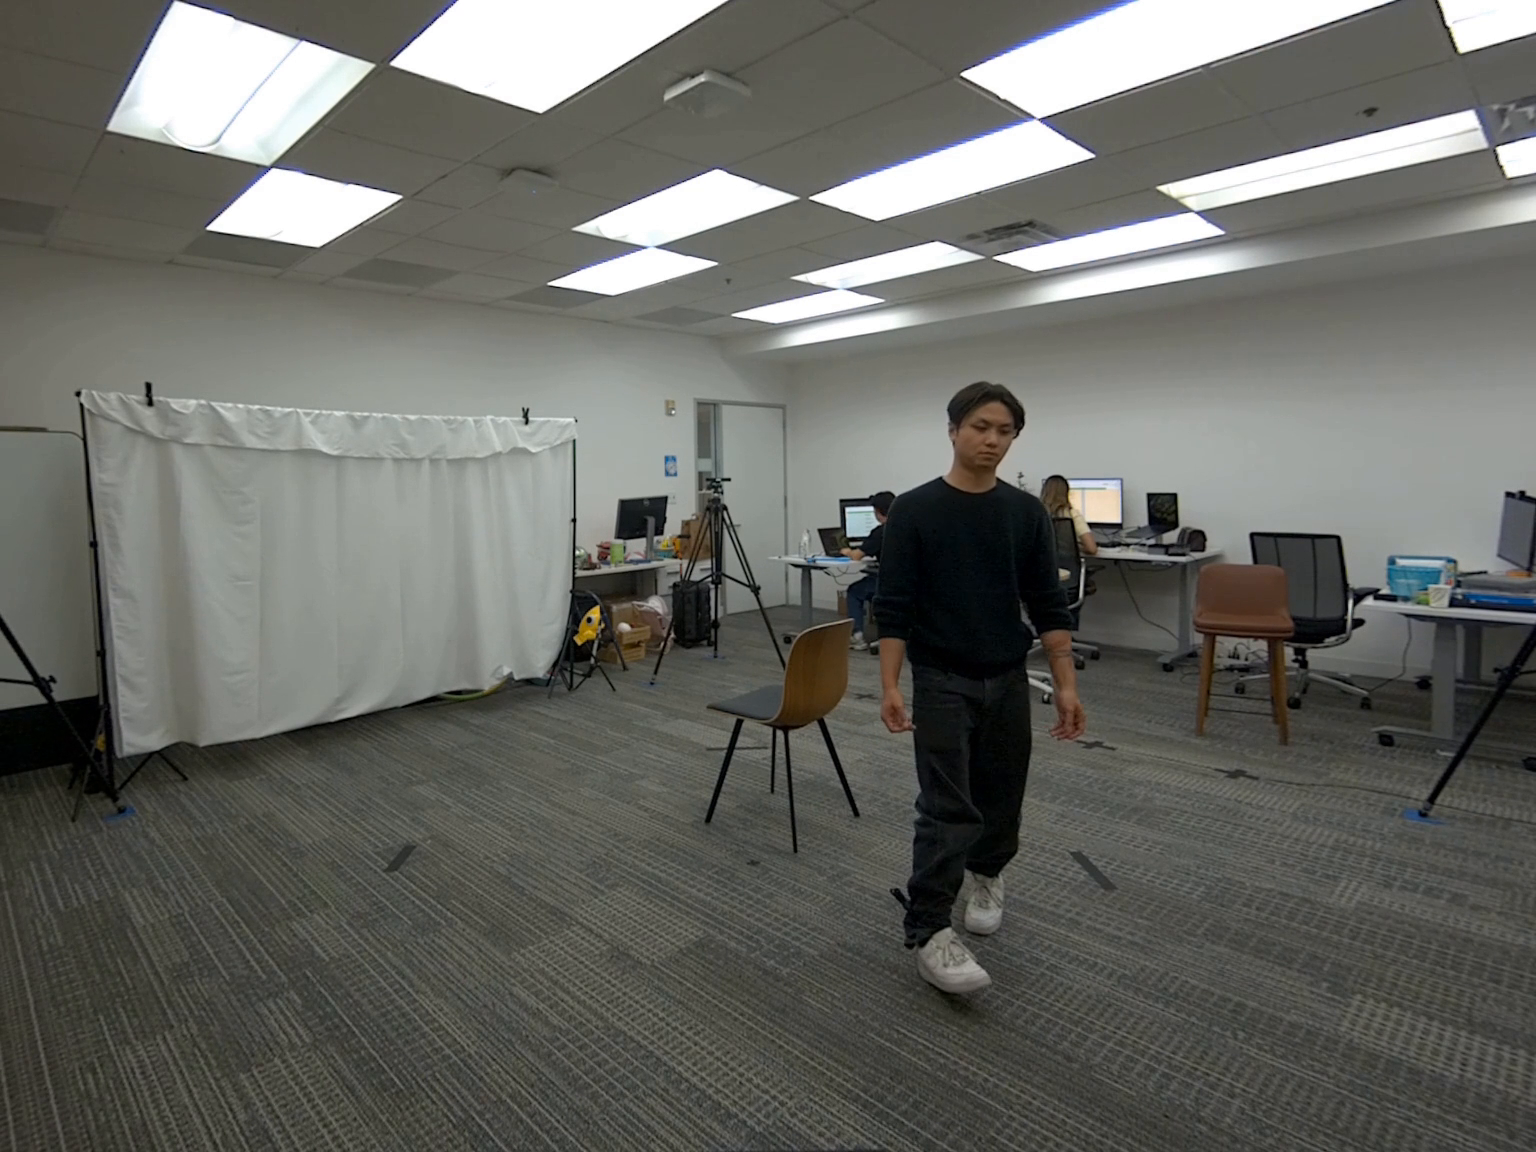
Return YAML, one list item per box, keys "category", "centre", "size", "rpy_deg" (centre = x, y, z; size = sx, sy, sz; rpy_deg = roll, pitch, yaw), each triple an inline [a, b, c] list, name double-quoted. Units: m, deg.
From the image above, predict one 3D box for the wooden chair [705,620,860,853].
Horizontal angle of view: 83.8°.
- category: "wooden chair"
  centre: [0.050, 0.570, 3.461]
  size: [0.540, 0.872, 0.466]
  rpy_deg: [8, 9, 38]
